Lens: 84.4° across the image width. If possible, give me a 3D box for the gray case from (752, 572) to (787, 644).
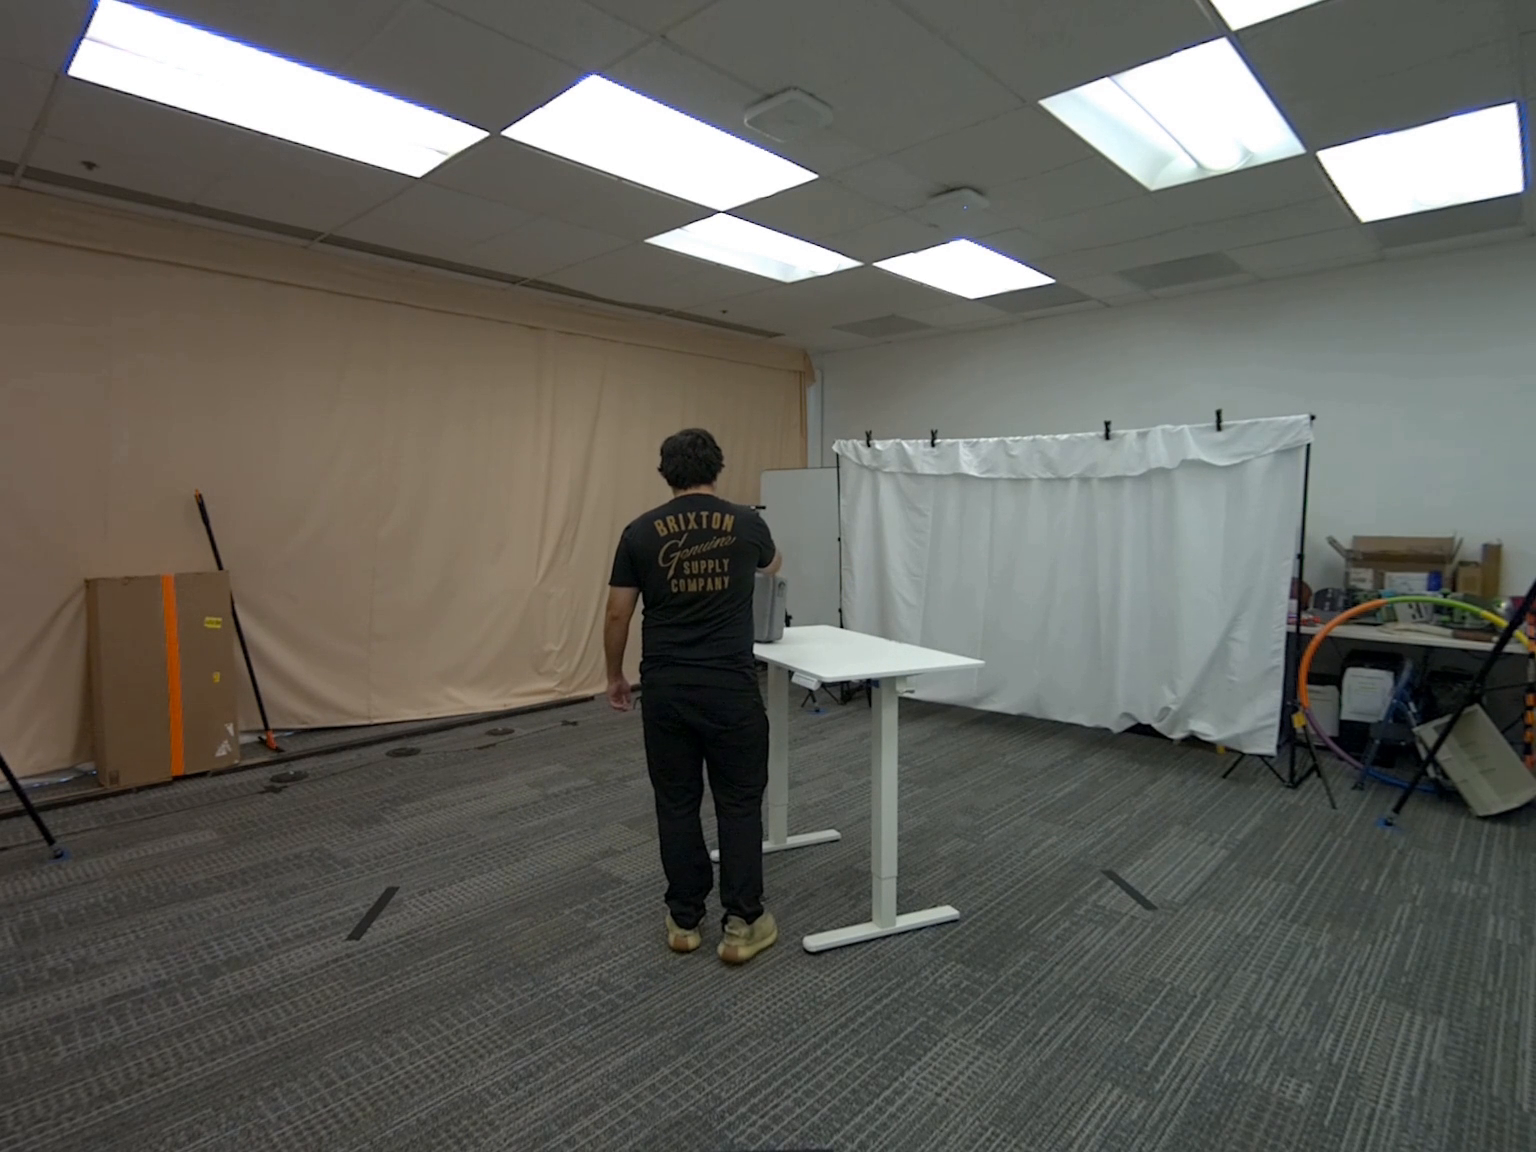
[{"bbox_3d":[-0.044,0.109,3.201,0.101,0.261,0.265,6,-2,-35],"label":"gray case"}]
